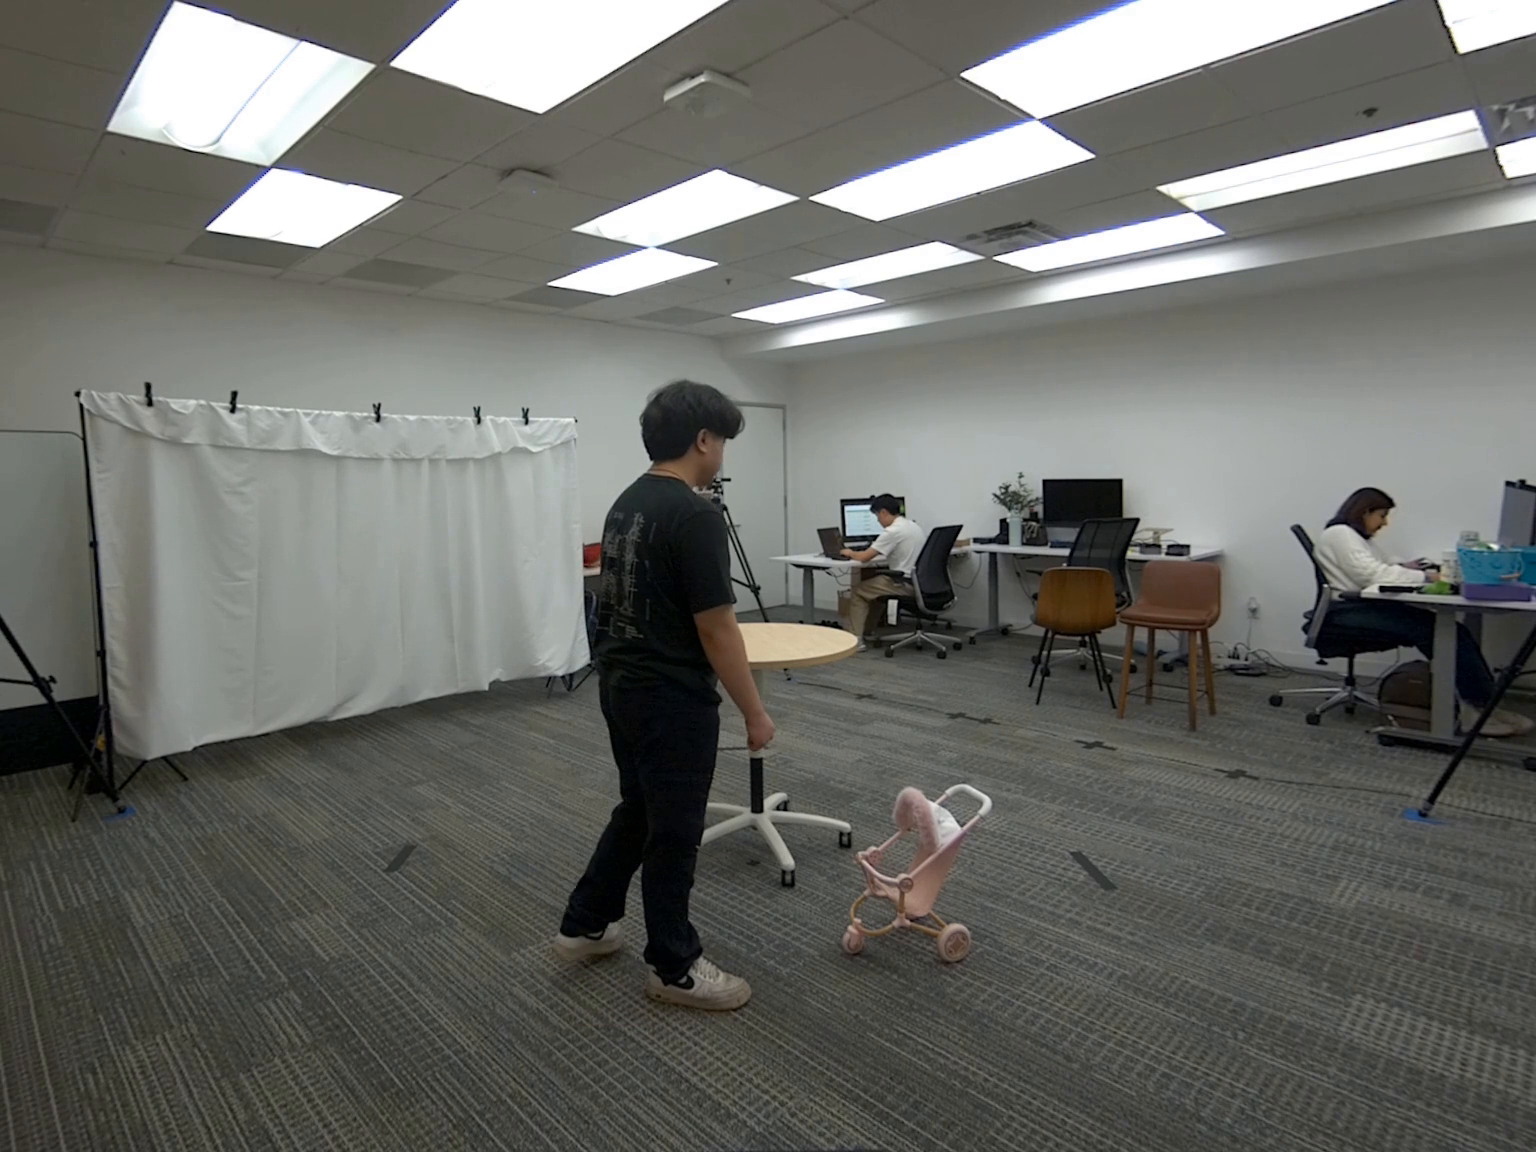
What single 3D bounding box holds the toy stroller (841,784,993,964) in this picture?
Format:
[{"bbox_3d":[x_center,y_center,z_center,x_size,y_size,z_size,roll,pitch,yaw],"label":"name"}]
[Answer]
[{"bbox_3d":[0.429,0.875,2.543,0.336,0.535,0.286,13,1,-14],"label":"toy stroller"}]
